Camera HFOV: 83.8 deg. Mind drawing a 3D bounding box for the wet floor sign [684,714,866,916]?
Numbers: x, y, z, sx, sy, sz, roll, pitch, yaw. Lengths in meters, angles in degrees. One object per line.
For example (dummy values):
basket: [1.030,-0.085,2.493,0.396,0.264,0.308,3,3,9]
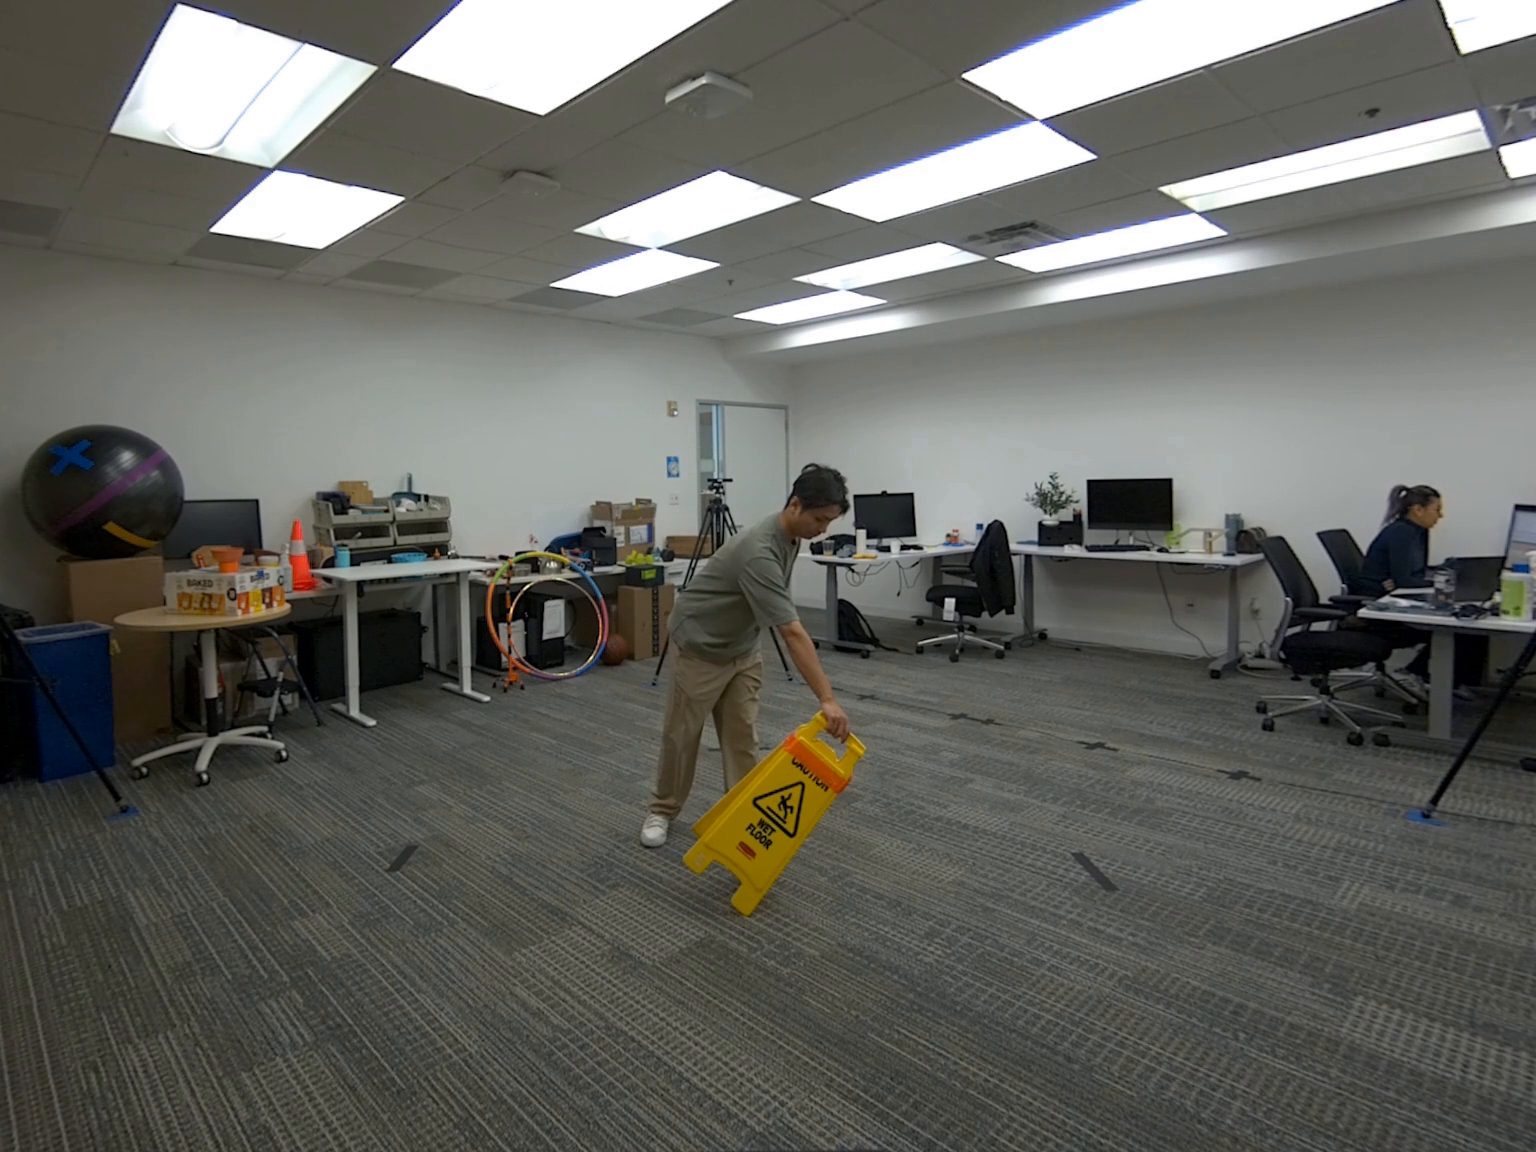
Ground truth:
wet floor sign: [0.042,0.745,2.827,0.282,0.645,0.290,39,6,-1]
